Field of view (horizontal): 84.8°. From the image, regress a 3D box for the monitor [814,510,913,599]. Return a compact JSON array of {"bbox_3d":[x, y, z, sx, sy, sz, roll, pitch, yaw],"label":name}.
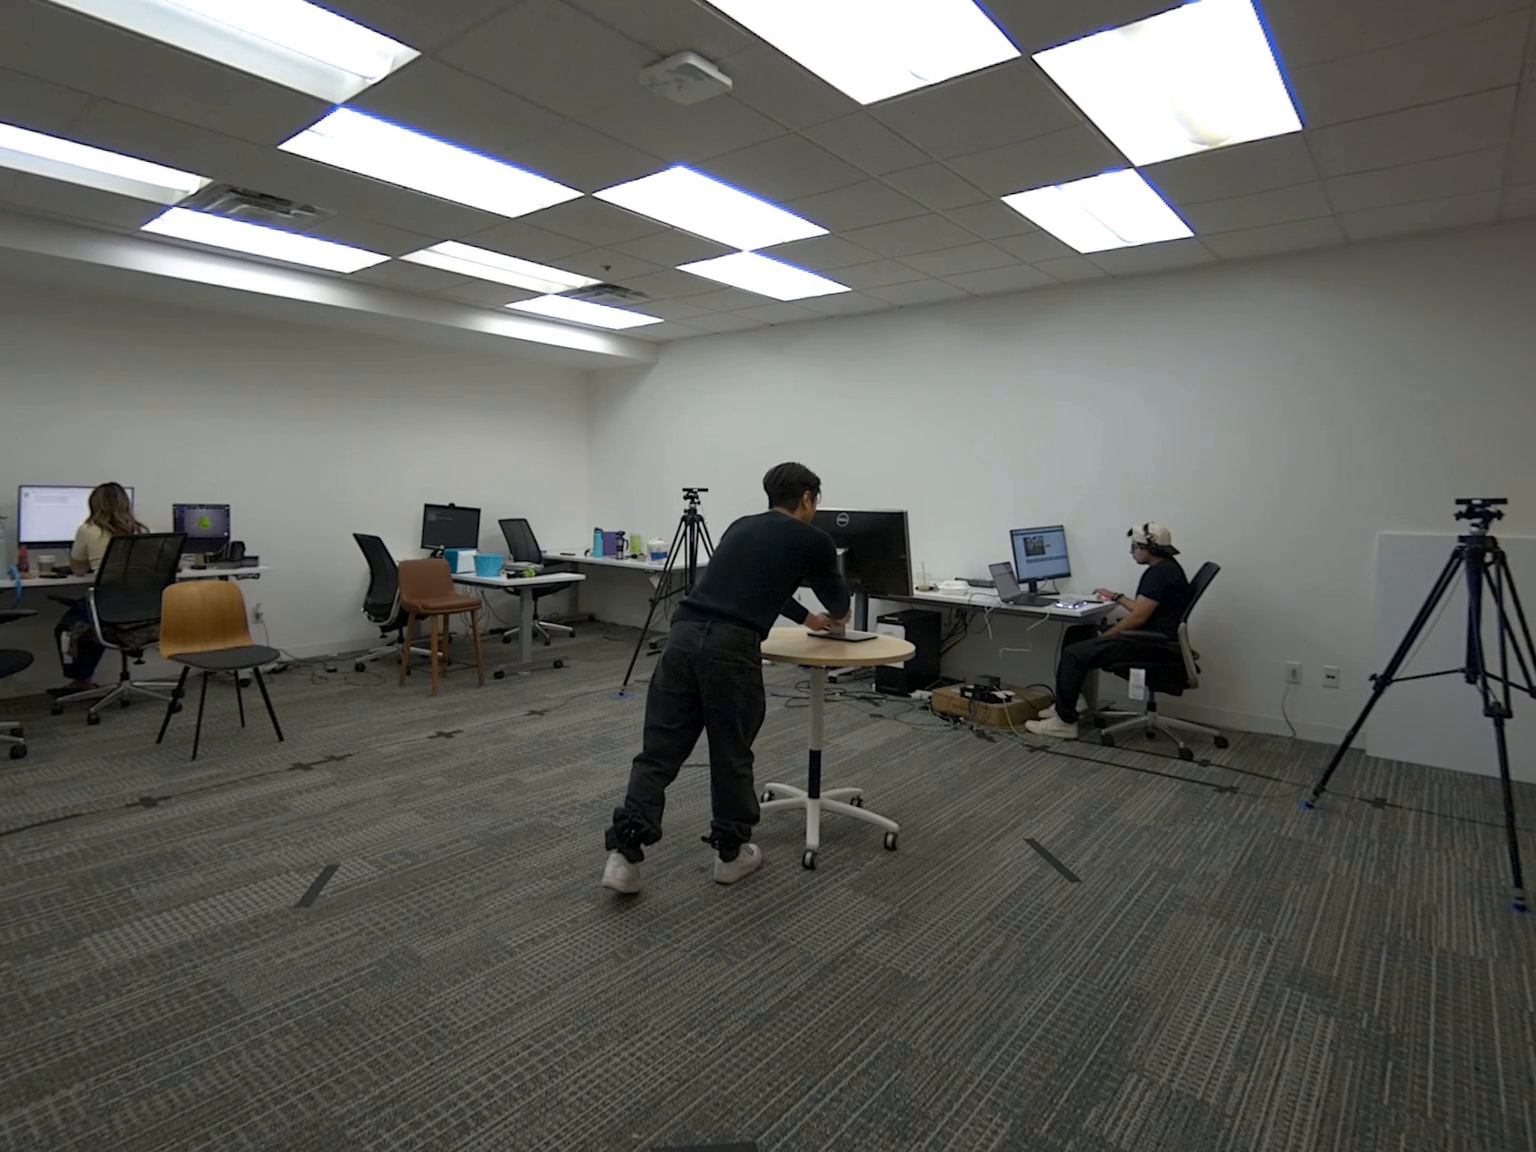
[{"bbox_3d":[0.316,-0.015,3.596,0.557,0.521,0.181,4,3,37],"label":"monitor"}]
